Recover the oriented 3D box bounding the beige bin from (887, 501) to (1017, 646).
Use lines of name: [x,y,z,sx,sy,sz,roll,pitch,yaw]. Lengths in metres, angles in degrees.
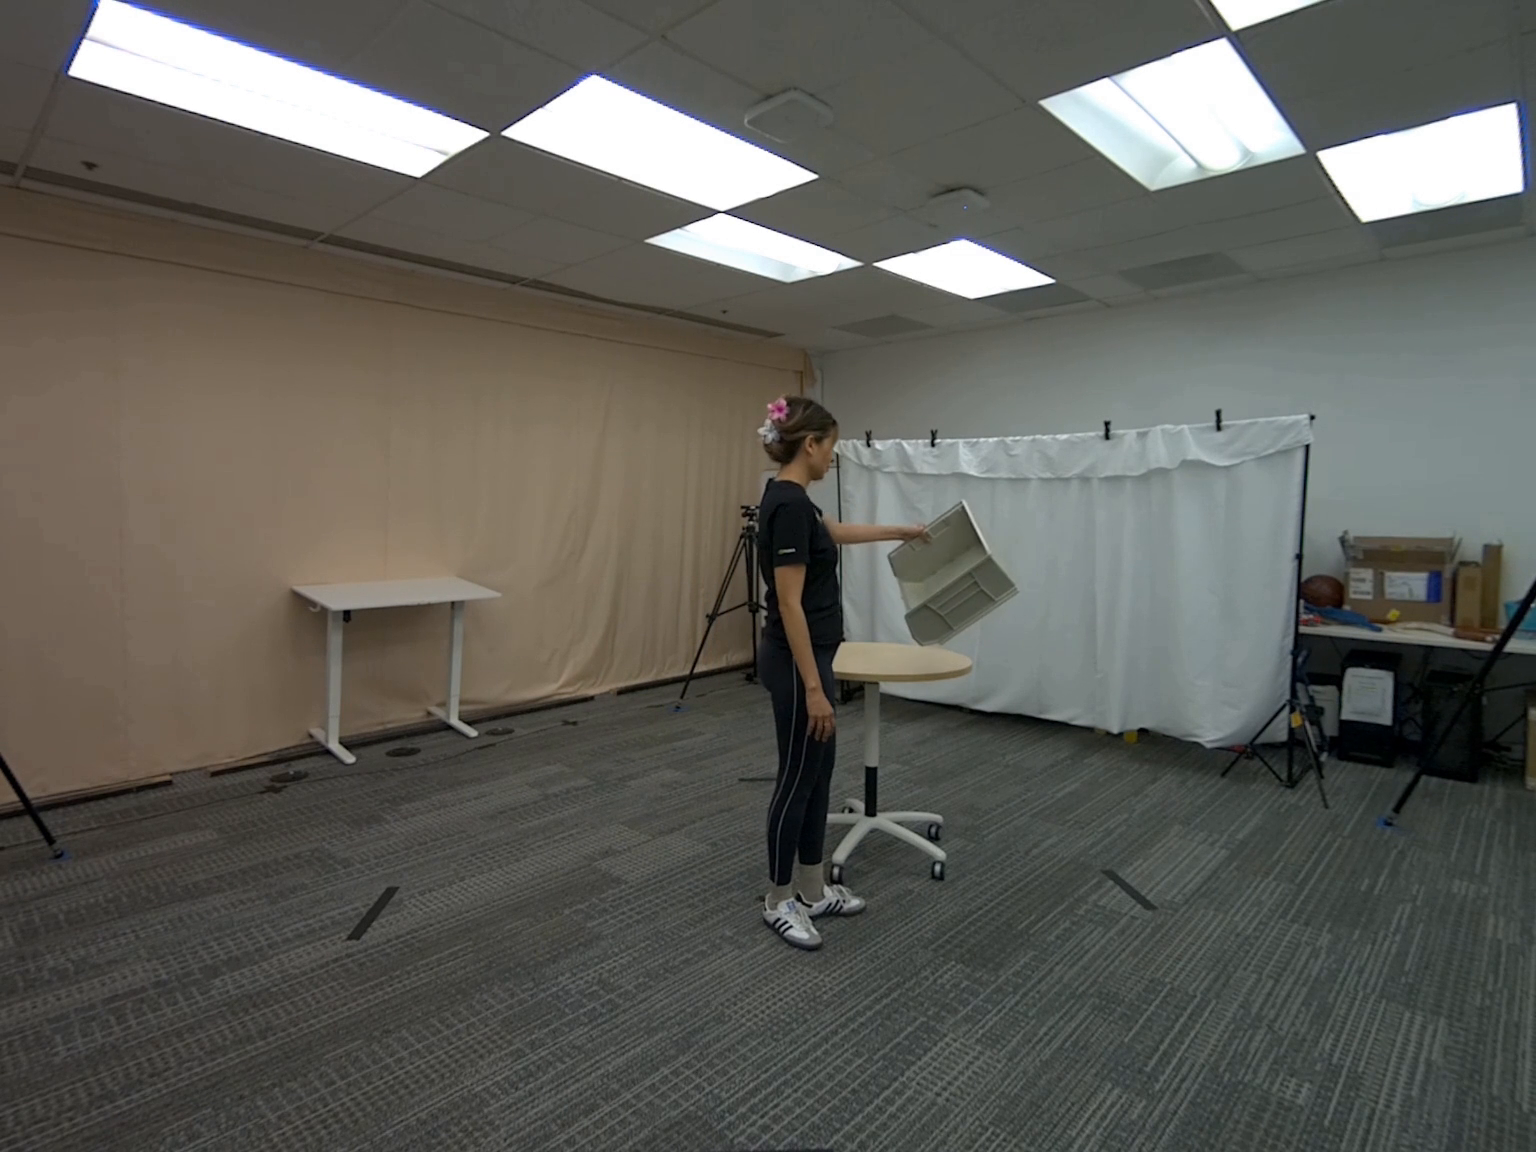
beige bin: [0.625,-0.007,2.910,0.380,0.185,0.427,-38,21,20]
